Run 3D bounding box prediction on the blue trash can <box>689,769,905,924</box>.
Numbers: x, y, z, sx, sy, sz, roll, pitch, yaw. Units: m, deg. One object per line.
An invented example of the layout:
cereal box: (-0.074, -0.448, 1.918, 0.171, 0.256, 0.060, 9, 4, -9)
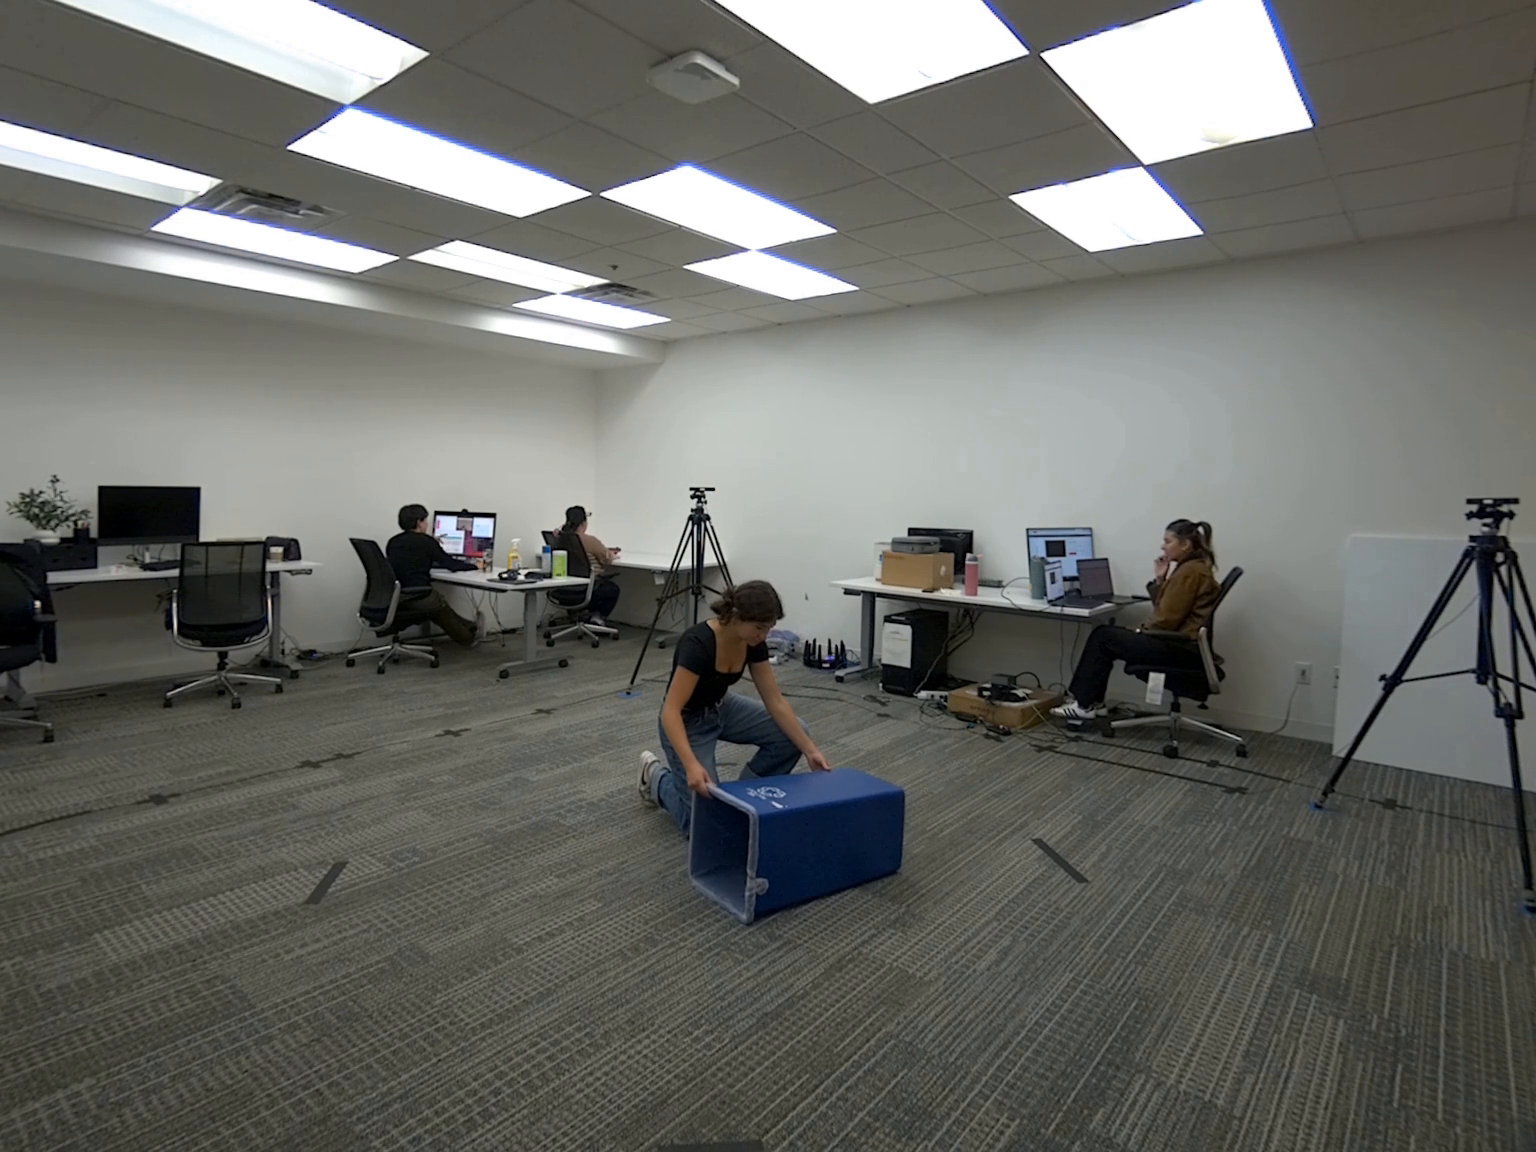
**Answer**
blue trash can: (0.110, 0.914, 3.036, 0.692, 0.378, 0.386, 1, 2, -35)
